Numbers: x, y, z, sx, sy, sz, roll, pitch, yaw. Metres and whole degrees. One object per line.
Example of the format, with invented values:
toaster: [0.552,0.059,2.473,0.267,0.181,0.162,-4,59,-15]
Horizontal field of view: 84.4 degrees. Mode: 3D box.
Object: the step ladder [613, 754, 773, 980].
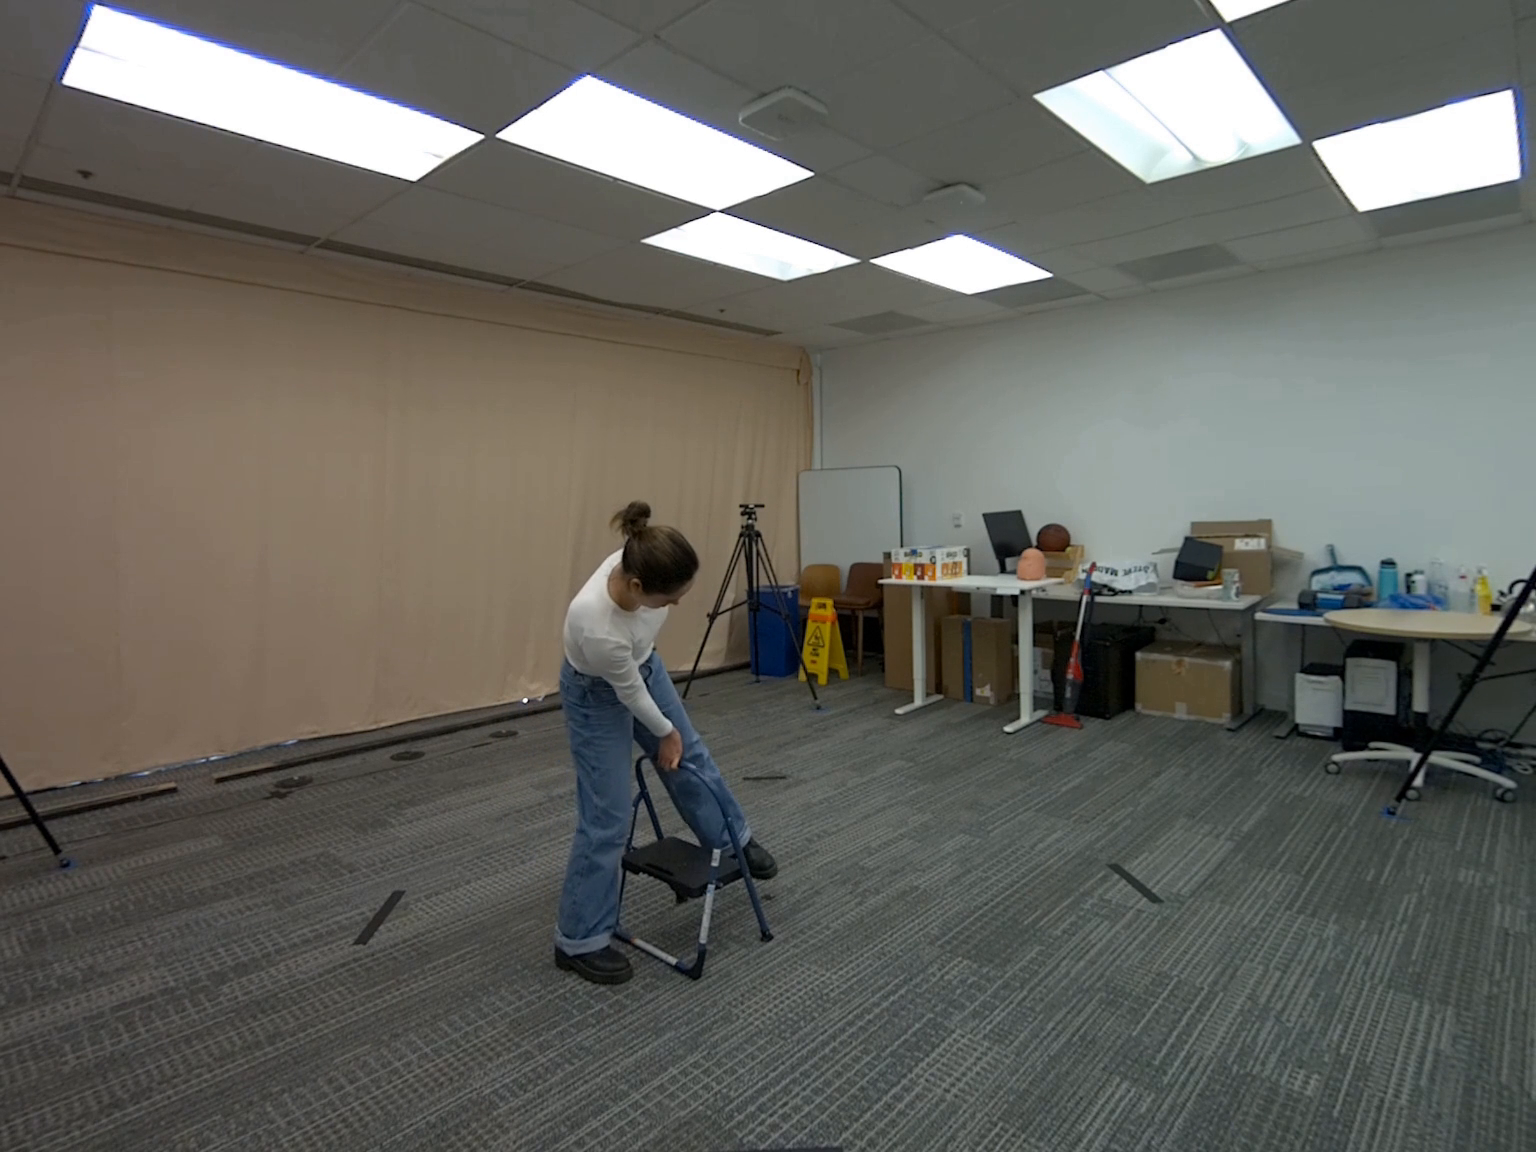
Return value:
step ladder: [-0.256,0.870,2.709,0.445,0.605,0.338,3,5,41]
